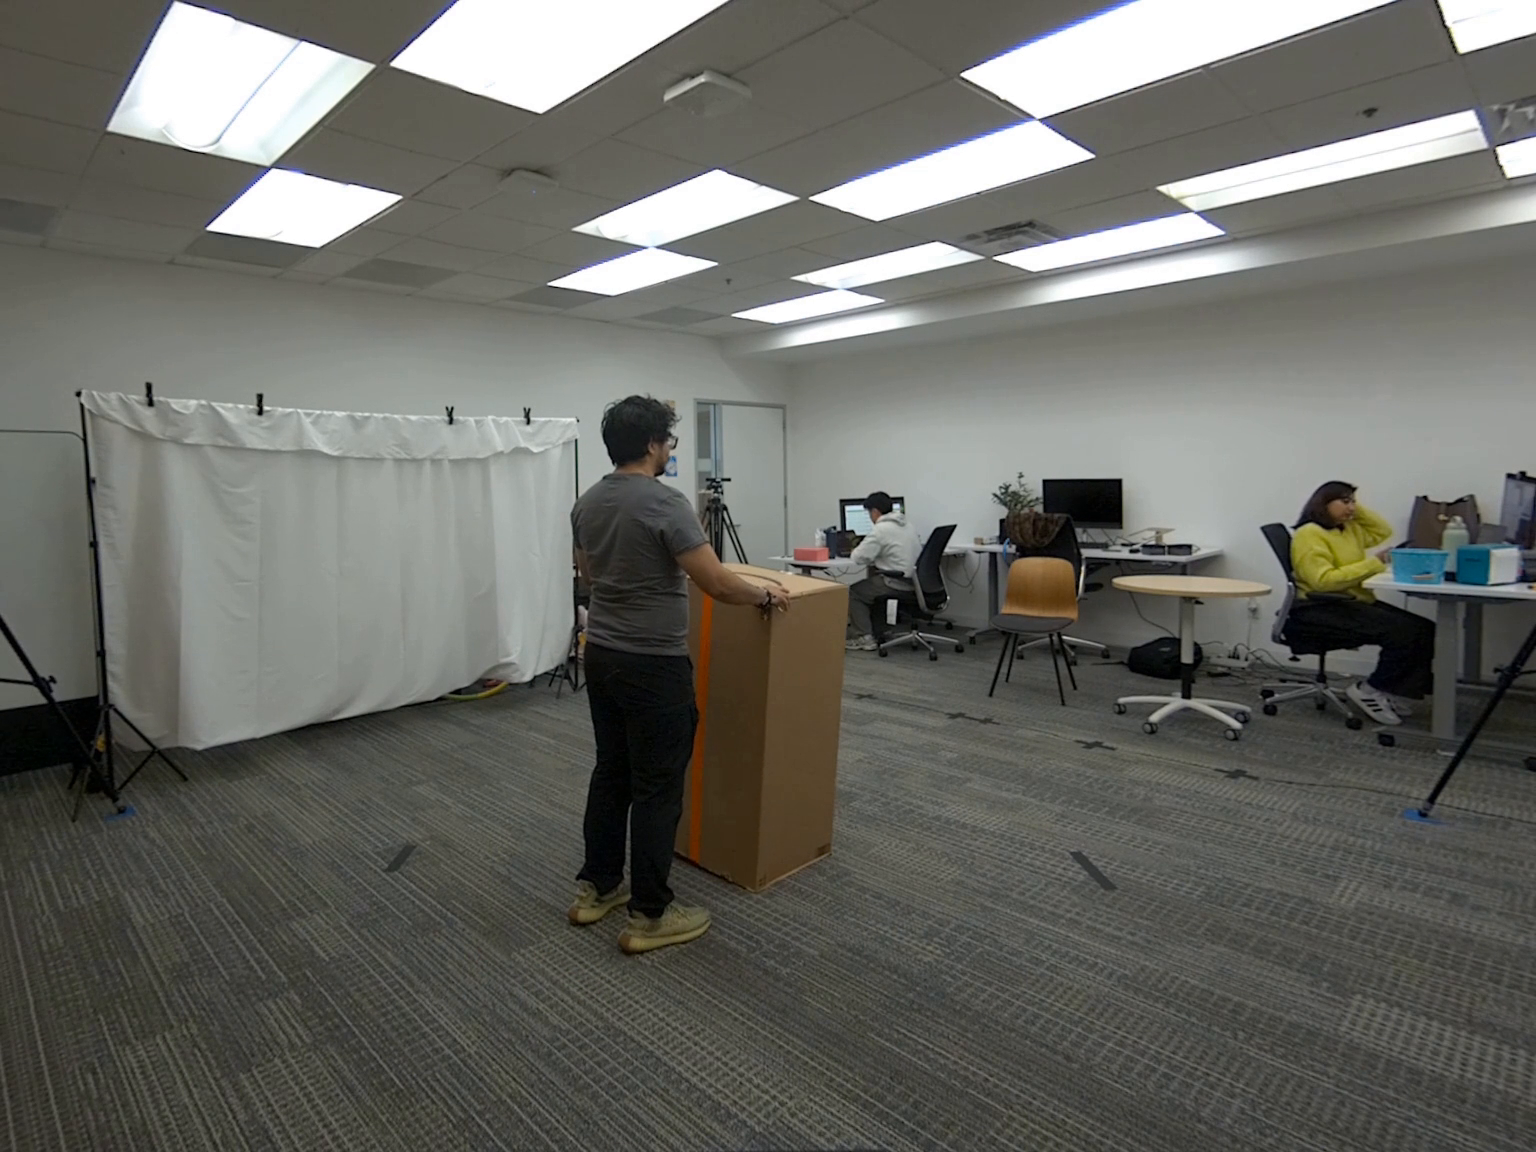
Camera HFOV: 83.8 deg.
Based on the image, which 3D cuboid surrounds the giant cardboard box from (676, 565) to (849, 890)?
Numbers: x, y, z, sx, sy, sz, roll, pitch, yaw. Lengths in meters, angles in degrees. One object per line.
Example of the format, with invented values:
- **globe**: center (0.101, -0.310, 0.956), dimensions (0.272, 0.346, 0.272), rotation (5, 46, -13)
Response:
- **giant cardboard box**: center (-0.085, 0.511, 3.160), dimensions (0.597, 1.019, 0.415), rotation (10, 10, 43)
